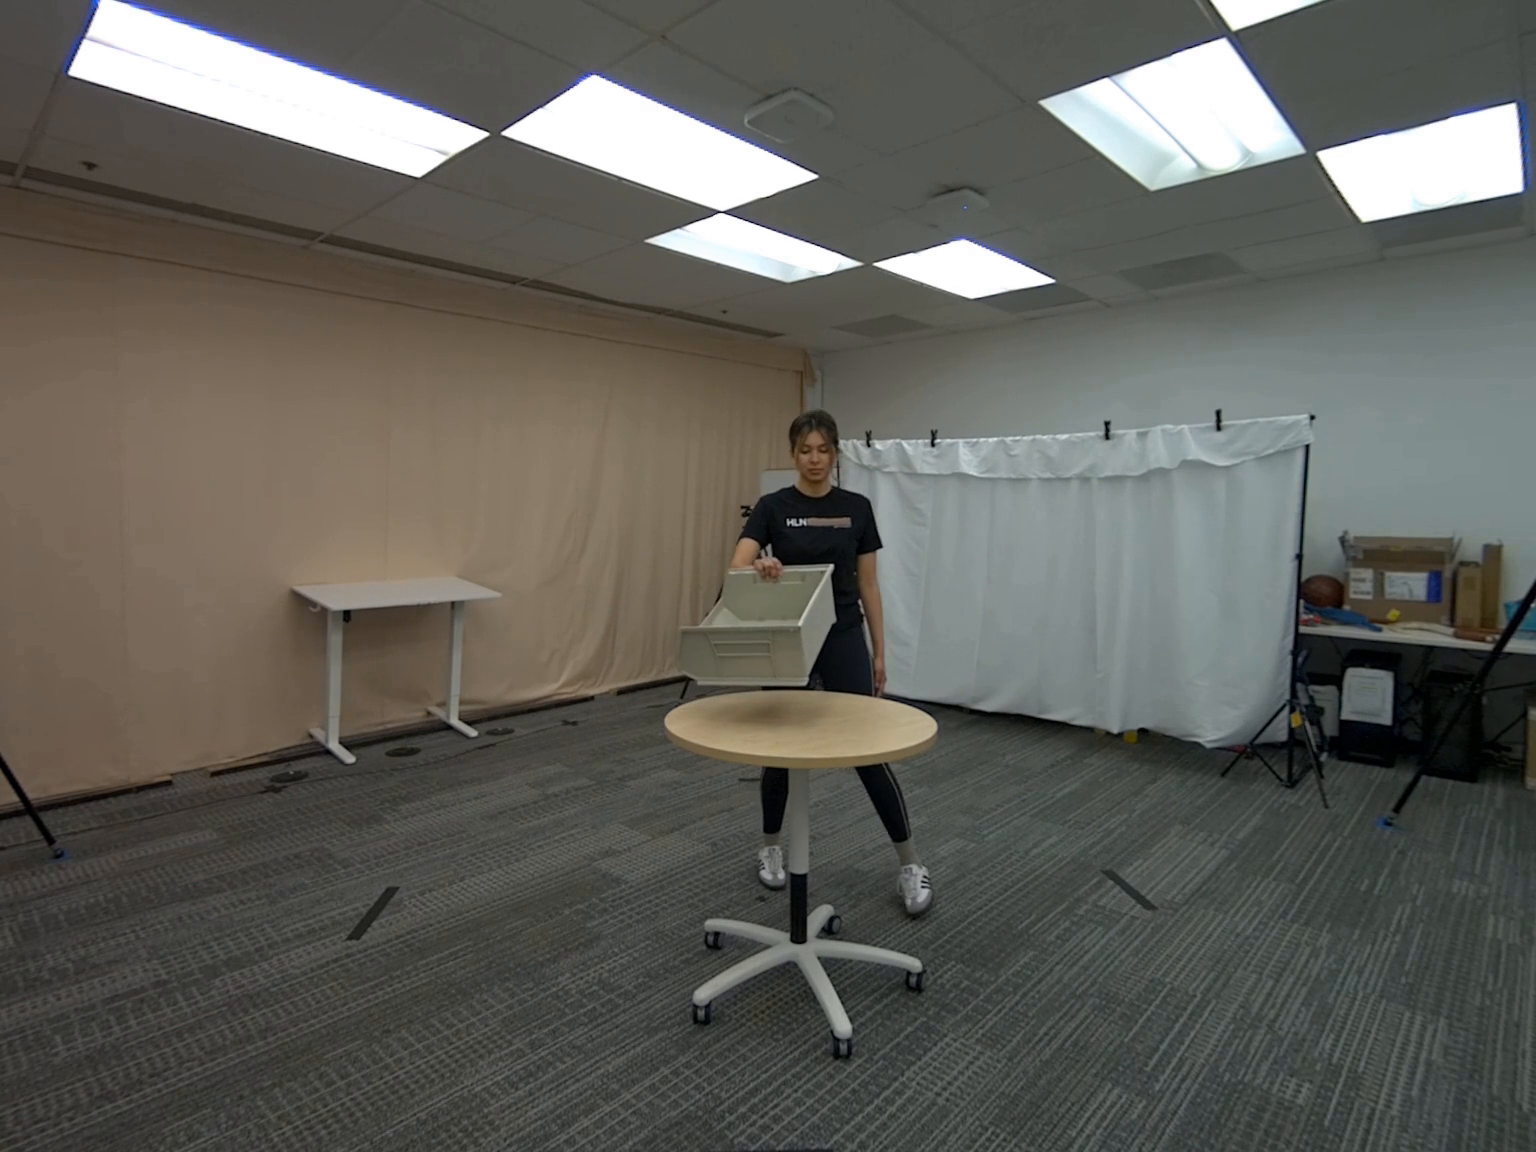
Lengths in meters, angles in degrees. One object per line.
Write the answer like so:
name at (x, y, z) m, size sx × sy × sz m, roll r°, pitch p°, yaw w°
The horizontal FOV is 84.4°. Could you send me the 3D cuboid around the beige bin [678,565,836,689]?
beige bin at (-0.025, 0.138, 2.442) m, size 0.385 × 0.186 × 0.419 m, roll -3°, pitch 20°, yaw 20°
